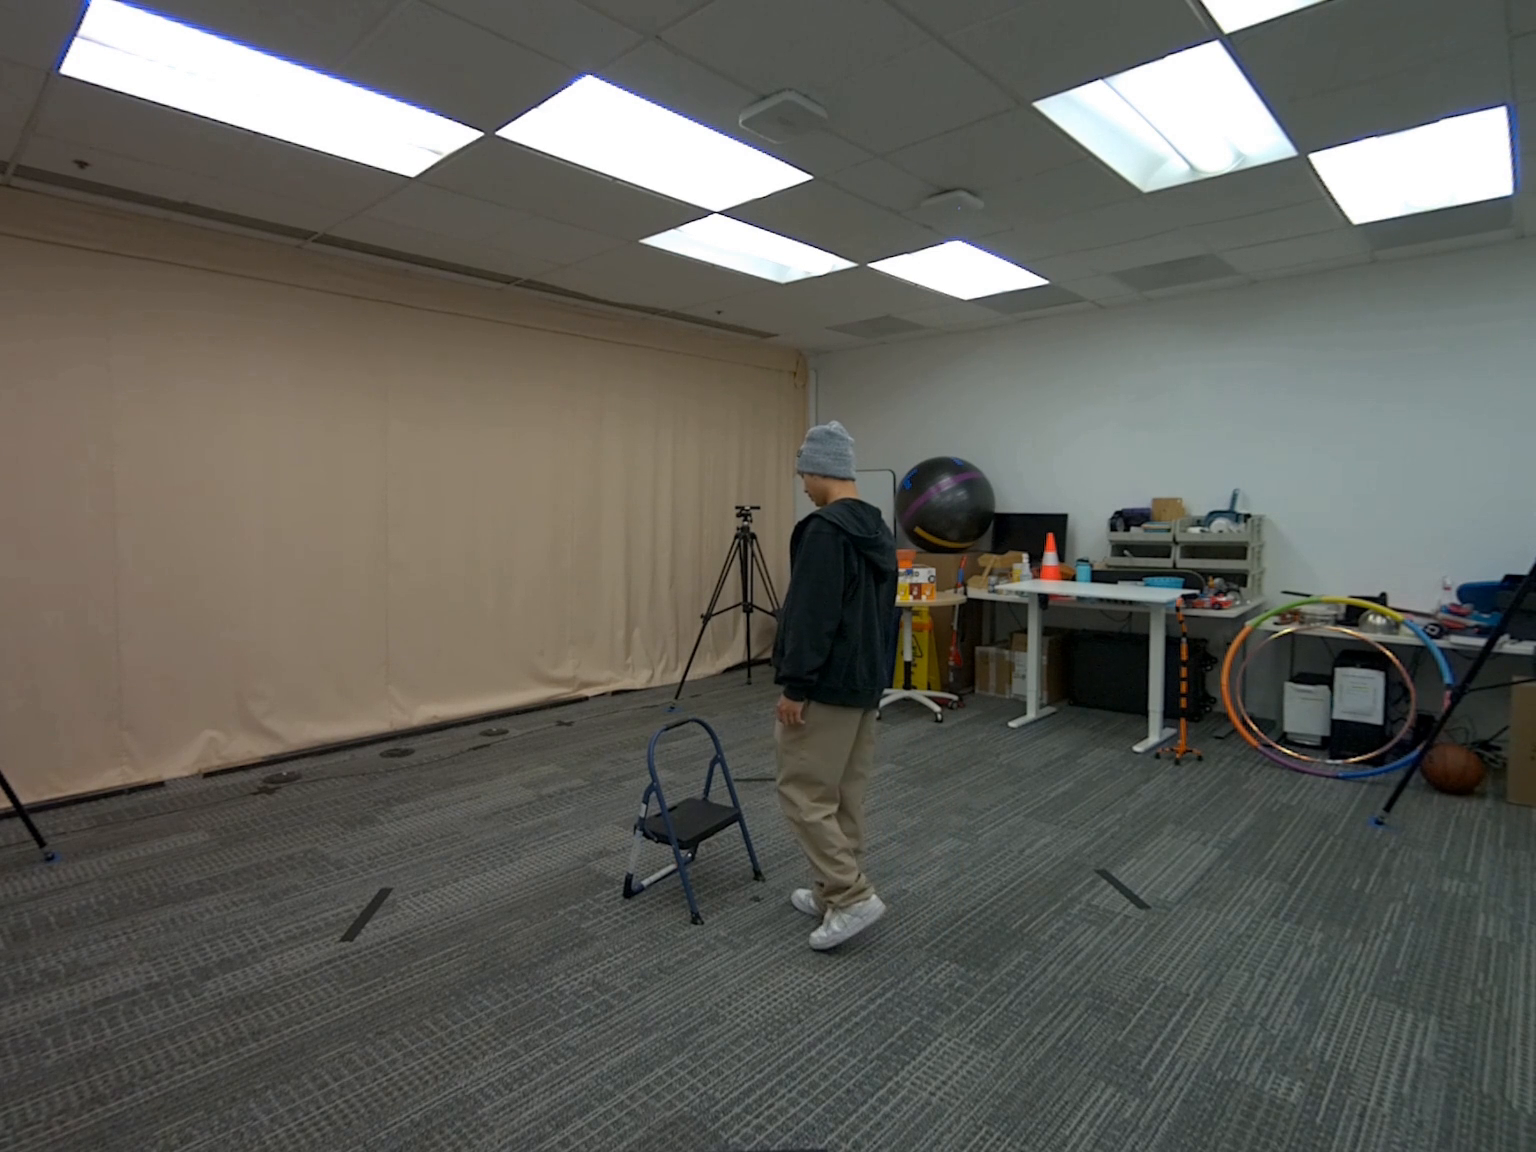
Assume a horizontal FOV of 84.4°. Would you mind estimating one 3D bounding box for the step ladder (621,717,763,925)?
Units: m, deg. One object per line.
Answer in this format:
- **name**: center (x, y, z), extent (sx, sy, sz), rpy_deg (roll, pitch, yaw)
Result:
- **step ladder**: center (-0.267, 0.837, 3.055), extent (0.360, 0.605, 0.418), rpy_deg (2, 4, 33)
